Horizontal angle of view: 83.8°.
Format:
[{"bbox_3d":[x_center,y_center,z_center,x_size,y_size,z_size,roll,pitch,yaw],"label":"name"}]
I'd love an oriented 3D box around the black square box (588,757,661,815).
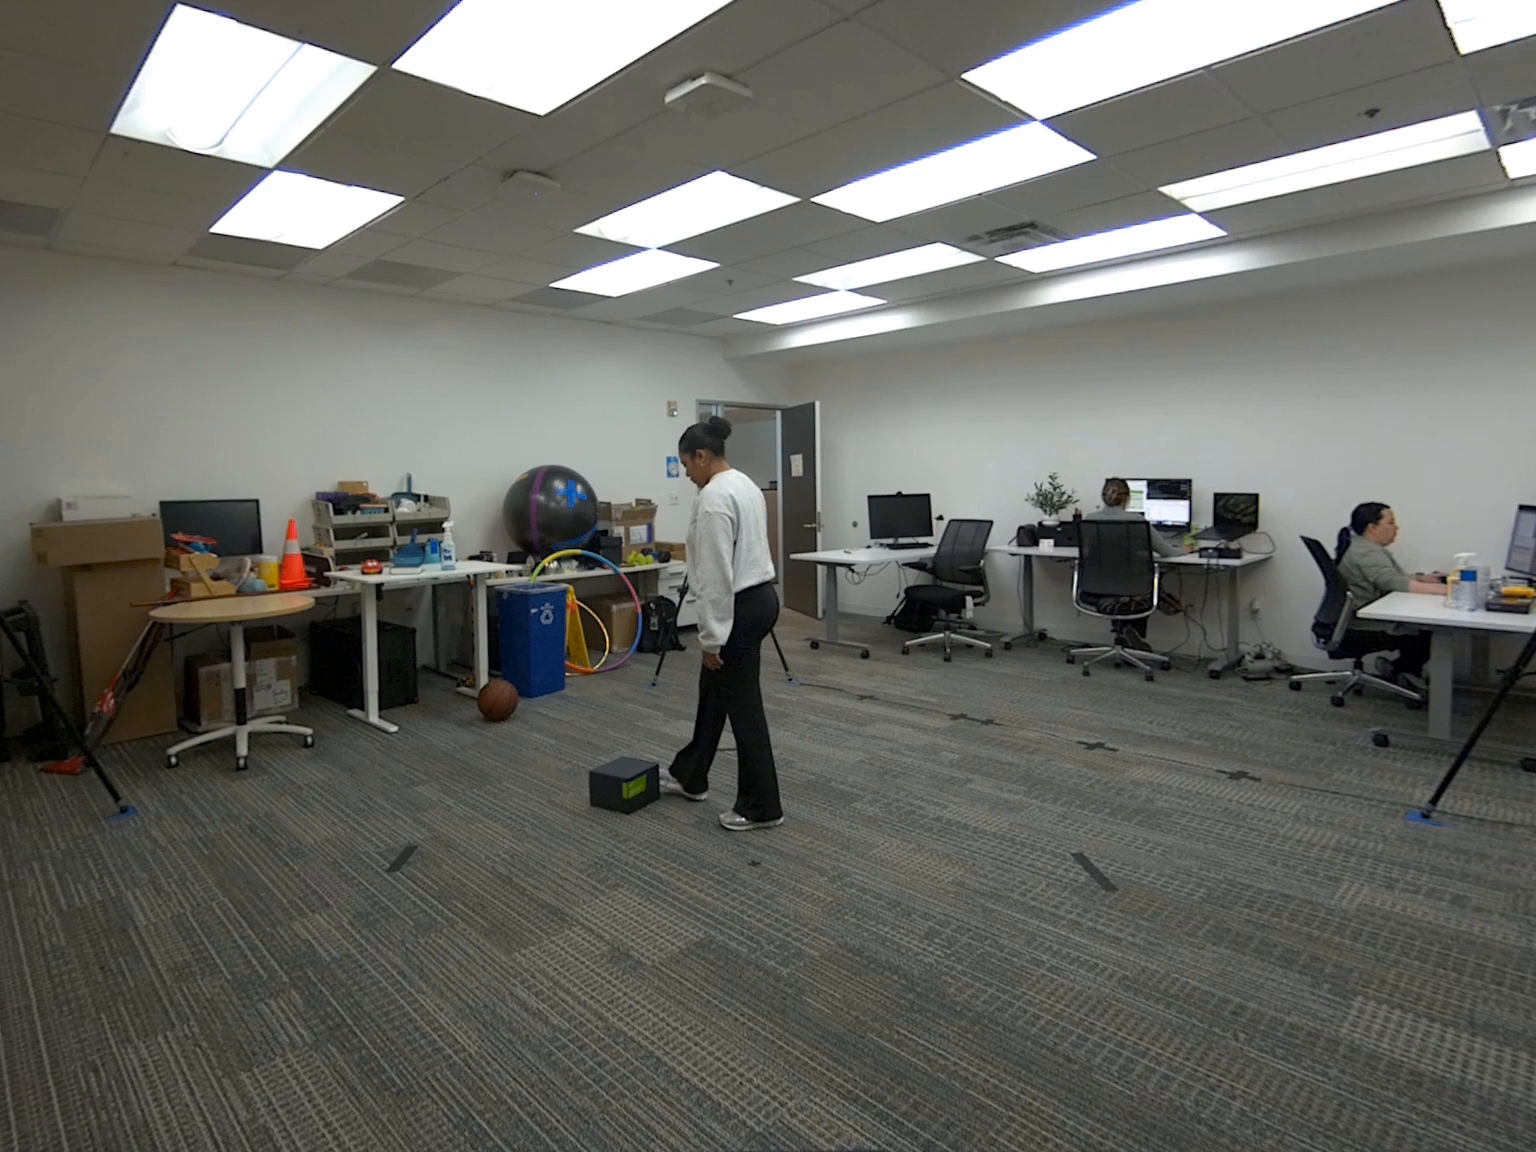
[{"bbox_3d":[-0.606,0.902,3.728,0.222,0.155,0.223,1,6,30],"label":"black square box"}]
